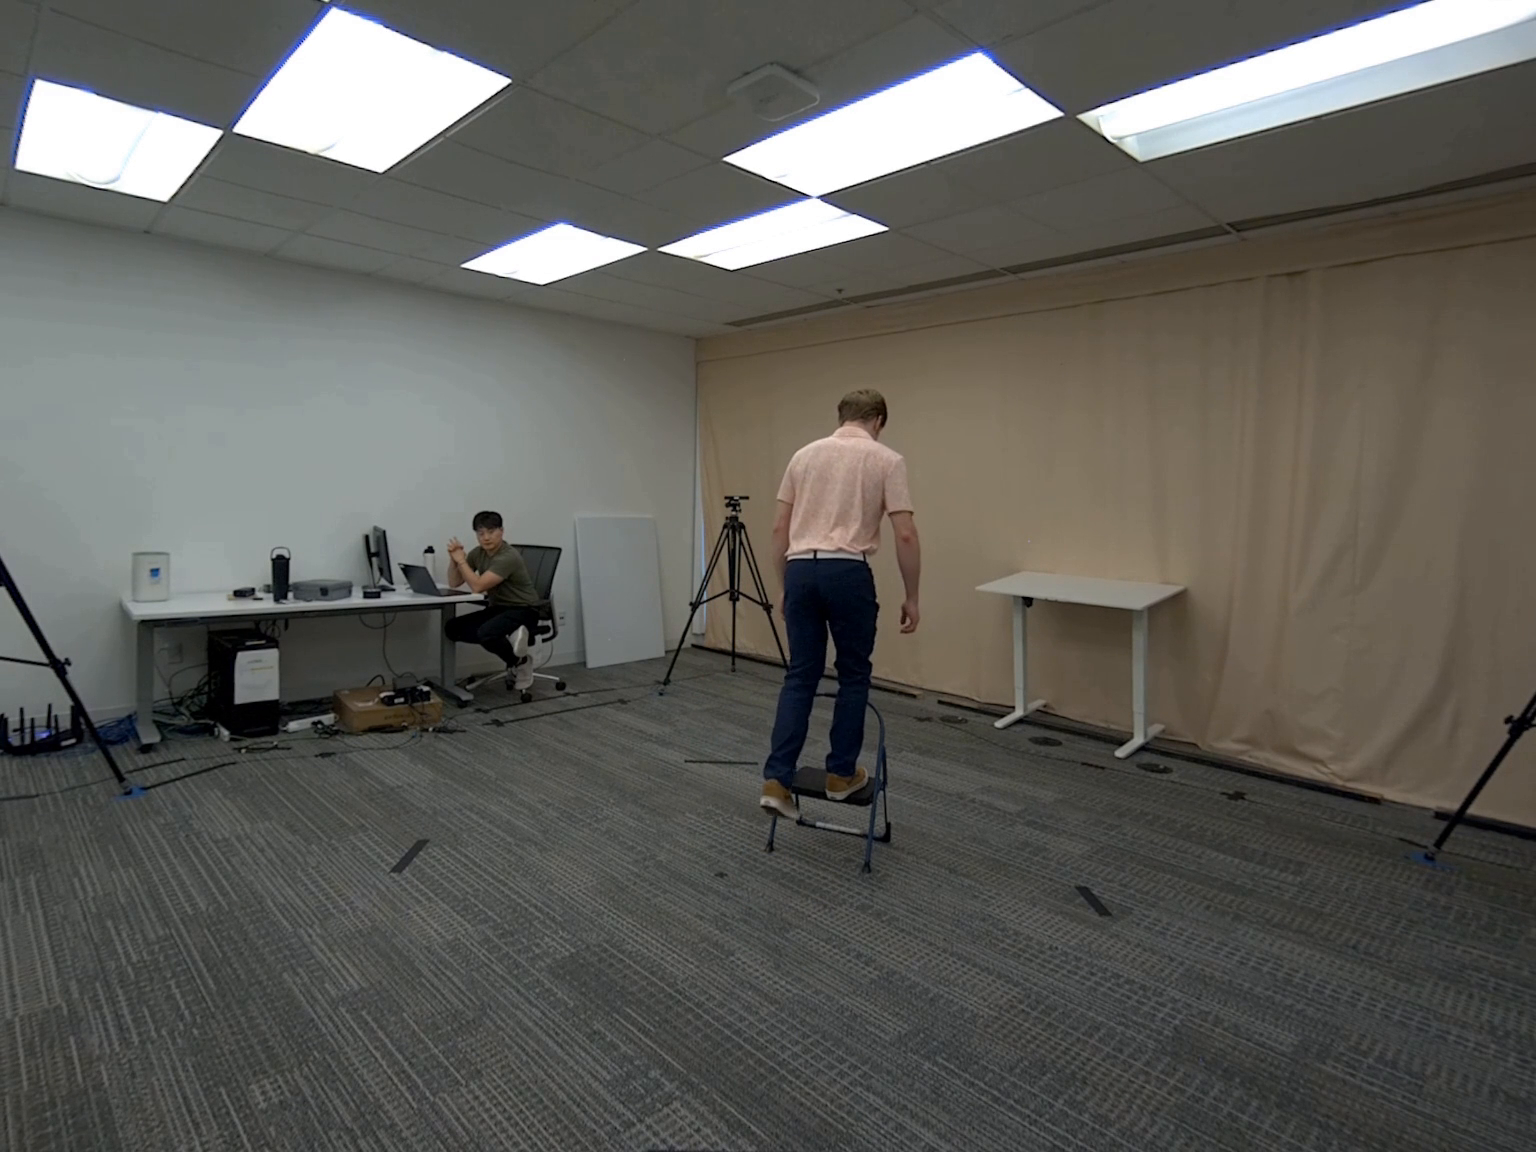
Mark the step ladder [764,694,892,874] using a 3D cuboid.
[{"bbox_3d":[0.251,0.789,3.381,0.439,0.605,0.343,3,3,24],"label":"step ladder"}]
